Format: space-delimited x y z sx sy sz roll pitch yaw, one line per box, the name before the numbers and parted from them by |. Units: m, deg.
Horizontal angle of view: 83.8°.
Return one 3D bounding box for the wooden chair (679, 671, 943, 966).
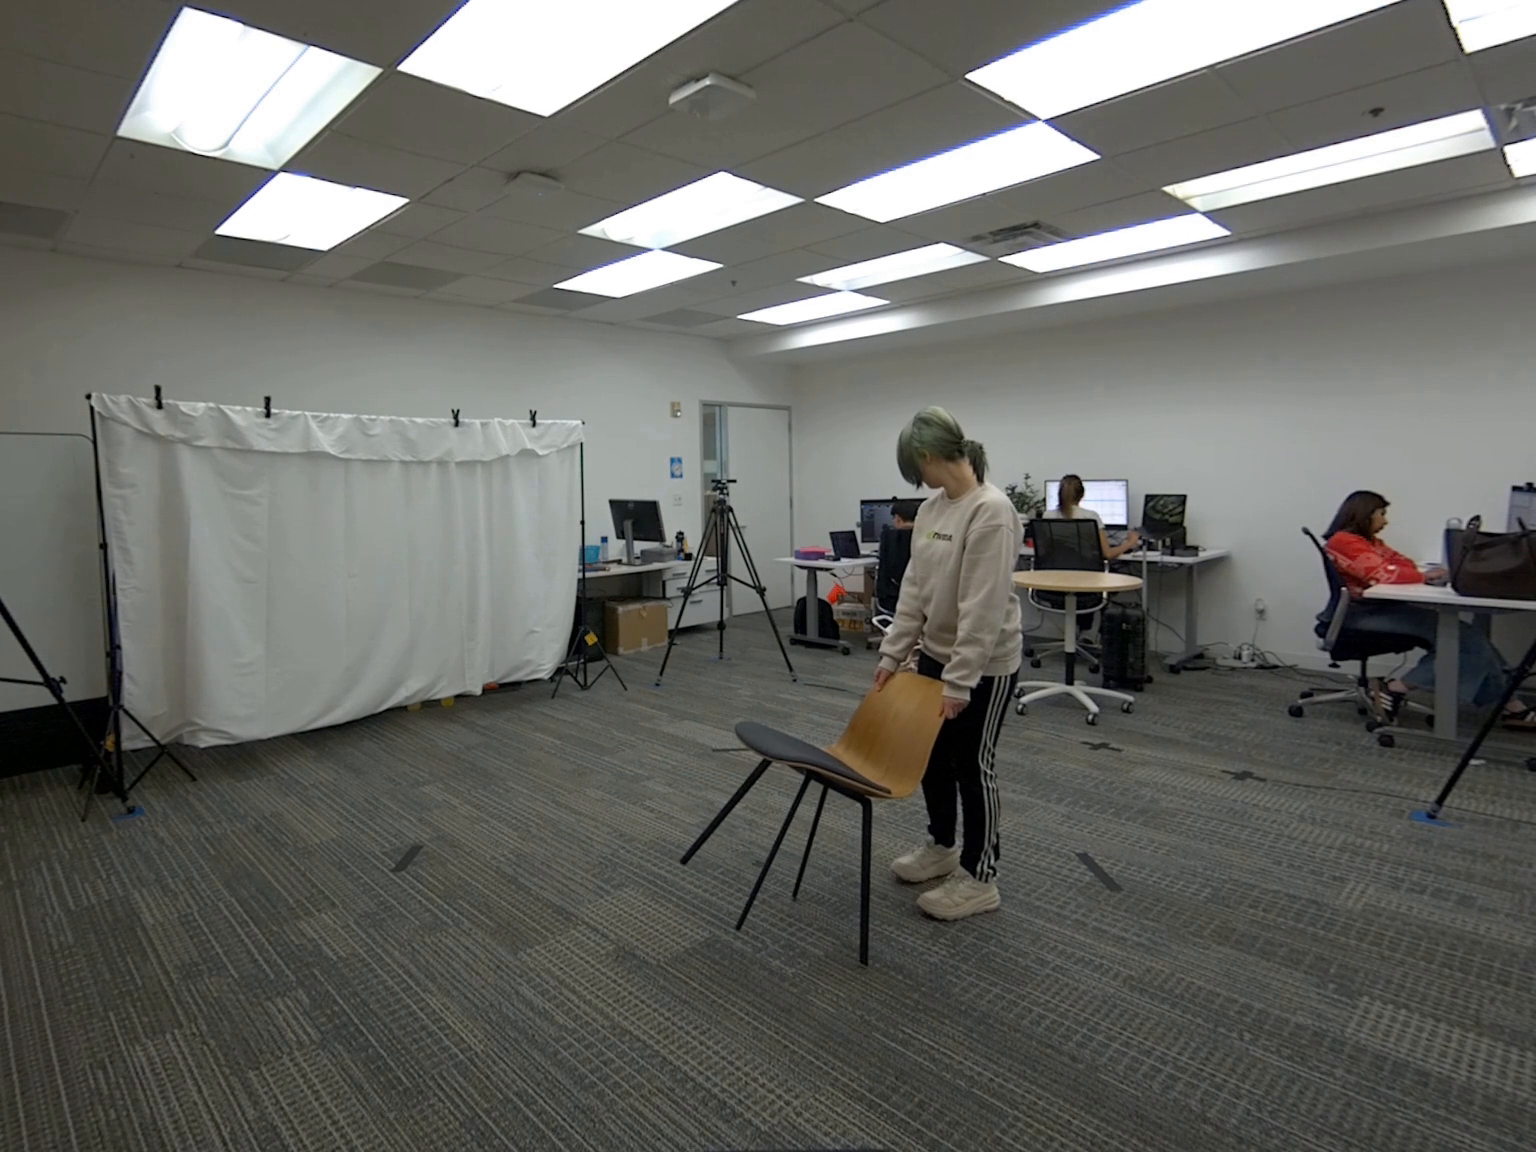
wooden chair | 0.162 0.612 2.603 0.509 0.880 0.490 30 -8 -24
